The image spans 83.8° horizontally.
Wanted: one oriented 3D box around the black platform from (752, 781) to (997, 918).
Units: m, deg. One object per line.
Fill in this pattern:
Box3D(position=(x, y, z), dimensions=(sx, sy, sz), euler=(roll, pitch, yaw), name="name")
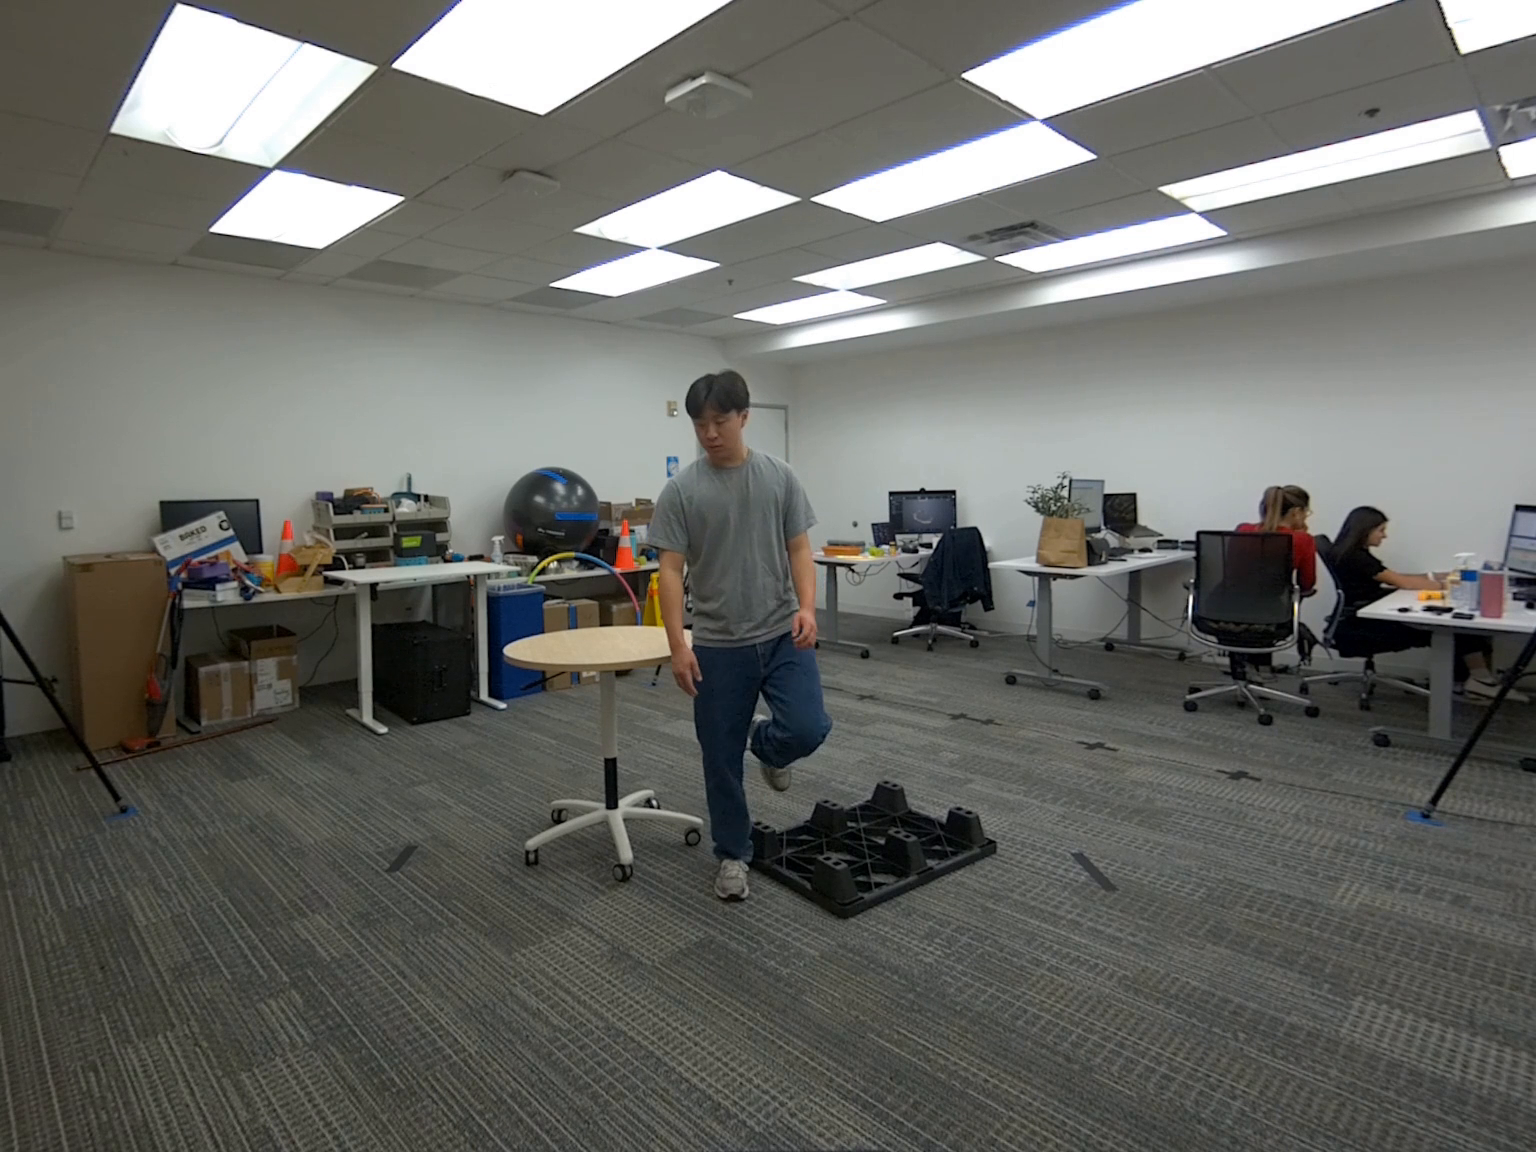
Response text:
Box3D(position=(0.360, 0.966, 3.171), dimensions=(0.785, 0.142, 0.624), euler=(-6, 9, -38), name="black platform")
